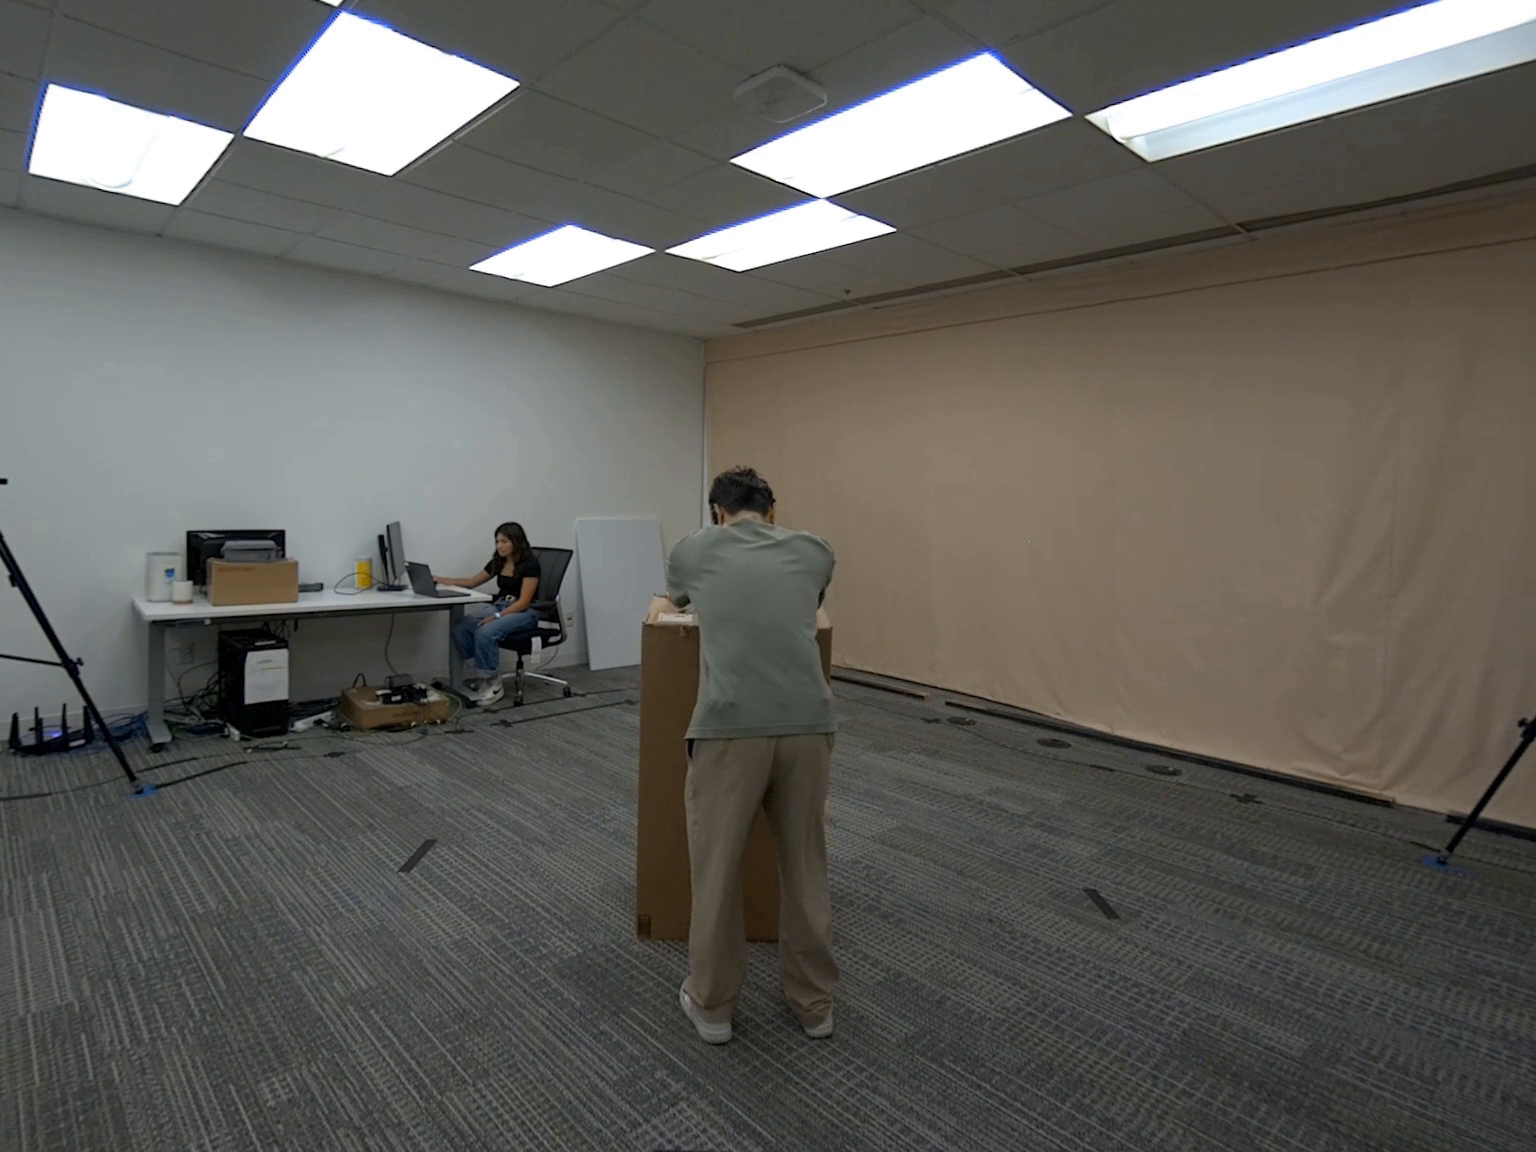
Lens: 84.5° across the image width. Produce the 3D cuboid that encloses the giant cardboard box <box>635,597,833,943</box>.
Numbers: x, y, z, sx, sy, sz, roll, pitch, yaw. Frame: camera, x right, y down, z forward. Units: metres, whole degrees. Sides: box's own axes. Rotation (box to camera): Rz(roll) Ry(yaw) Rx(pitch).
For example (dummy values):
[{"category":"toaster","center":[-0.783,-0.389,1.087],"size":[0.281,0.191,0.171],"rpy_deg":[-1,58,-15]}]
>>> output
[{"category":"giant cardboard box","center":[-0.131,0.616,2.775],"size":[0.577,1.020,0.429],"rpy_deg":[2,8,-2]}]
